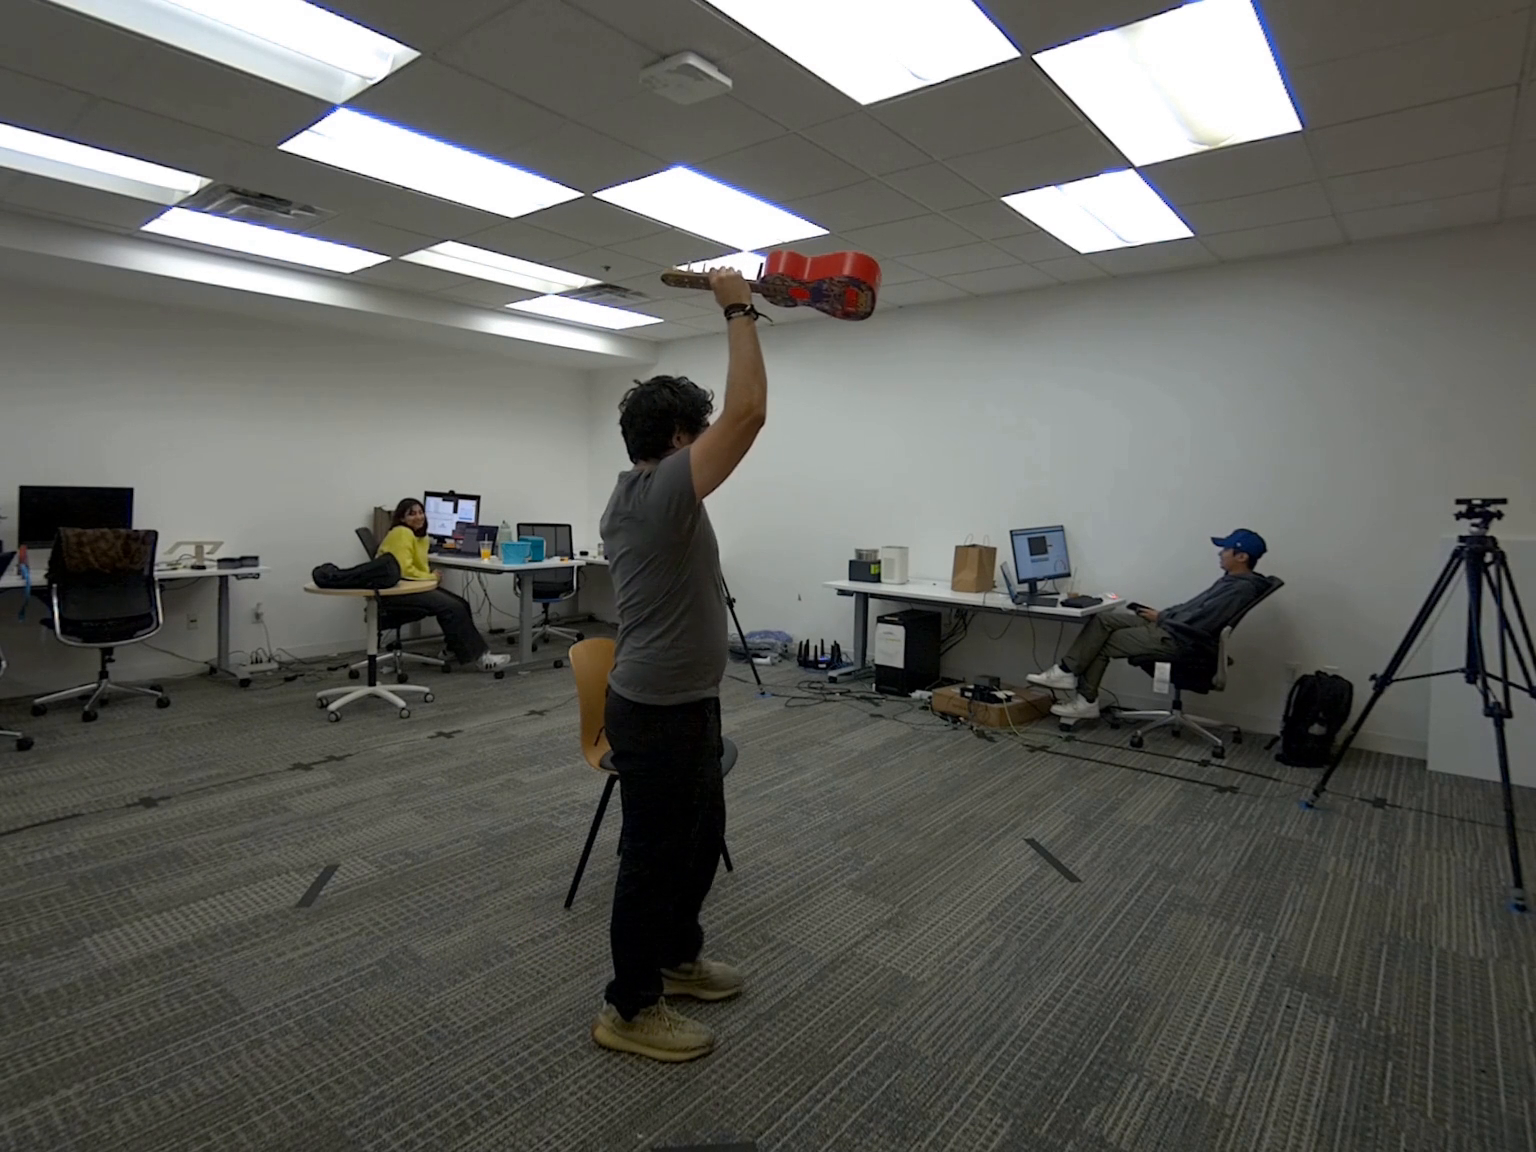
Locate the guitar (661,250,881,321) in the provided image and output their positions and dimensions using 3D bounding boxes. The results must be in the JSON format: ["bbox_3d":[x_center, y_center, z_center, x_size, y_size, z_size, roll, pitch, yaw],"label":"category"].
[{"bbox_3d":[-0.002,-0.677,1.910,0.499,0.071,0.191,12,-8,1],"label":"guitar"}]
